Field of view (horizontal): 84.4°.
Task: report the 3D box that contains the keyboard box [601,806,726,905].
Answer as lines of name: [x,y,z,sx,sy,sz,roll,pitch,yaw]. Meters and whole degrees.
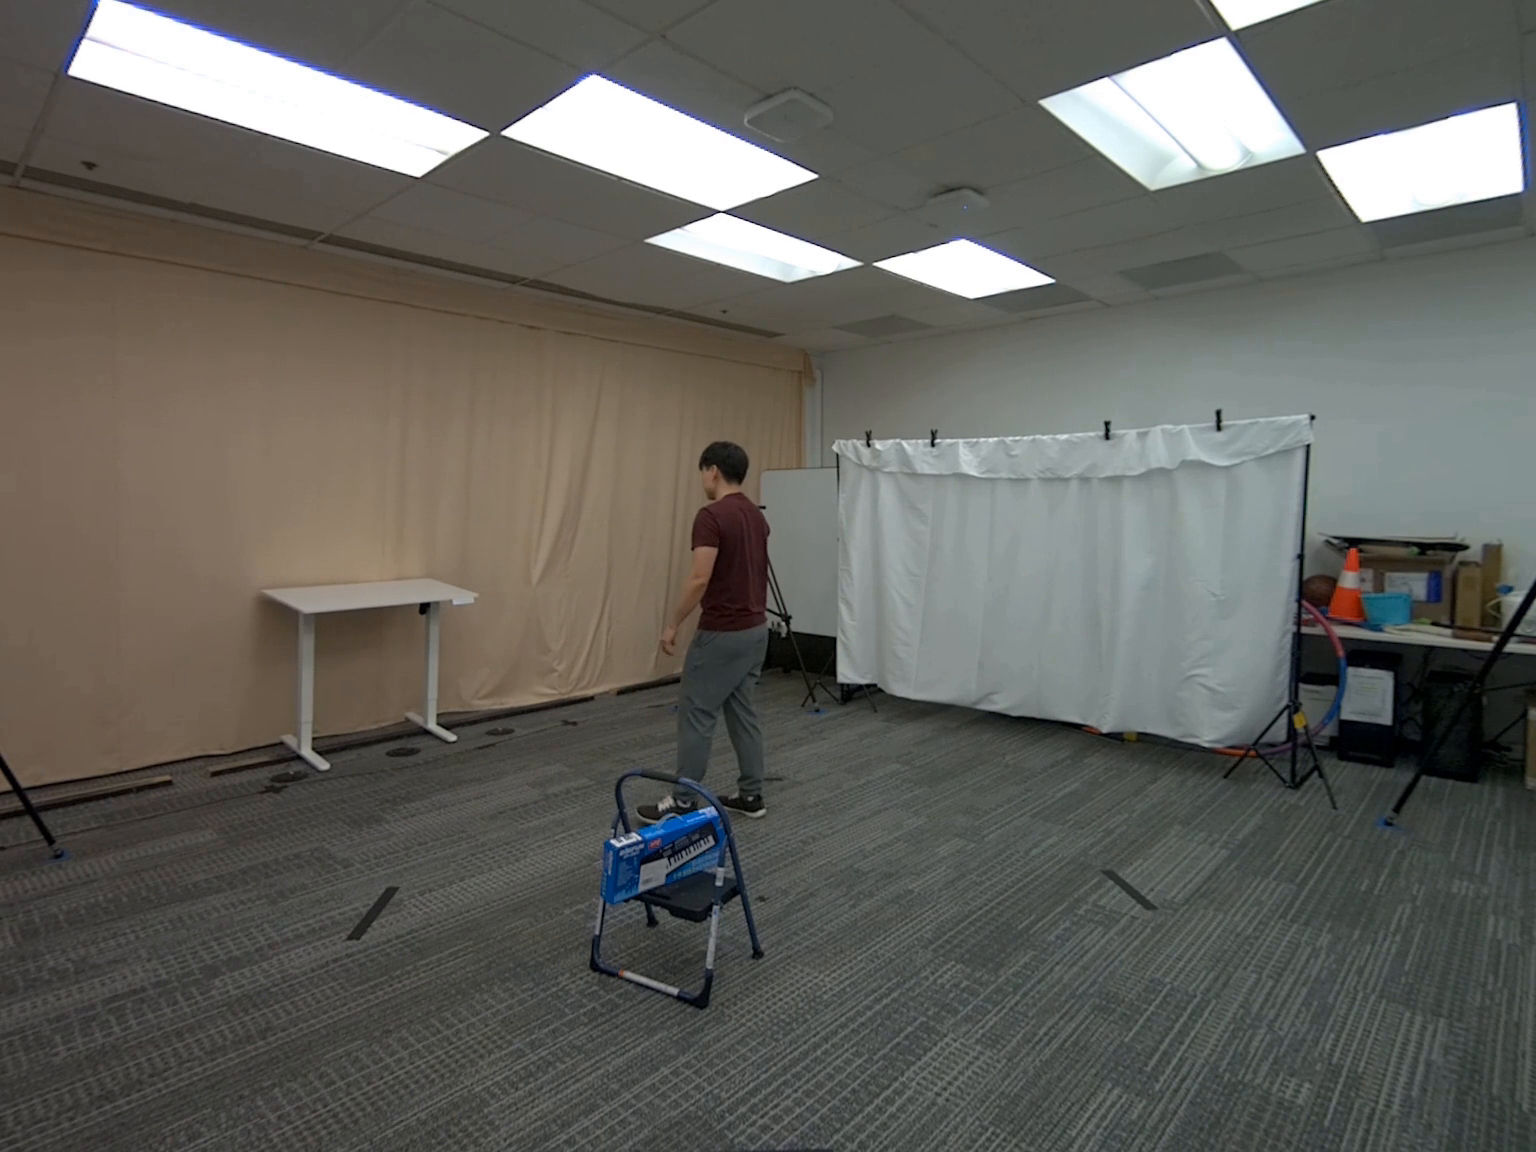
keyboard box: [-0.300,0.829,2.539,0.423,0.175,0.061,-4,13,-44]
